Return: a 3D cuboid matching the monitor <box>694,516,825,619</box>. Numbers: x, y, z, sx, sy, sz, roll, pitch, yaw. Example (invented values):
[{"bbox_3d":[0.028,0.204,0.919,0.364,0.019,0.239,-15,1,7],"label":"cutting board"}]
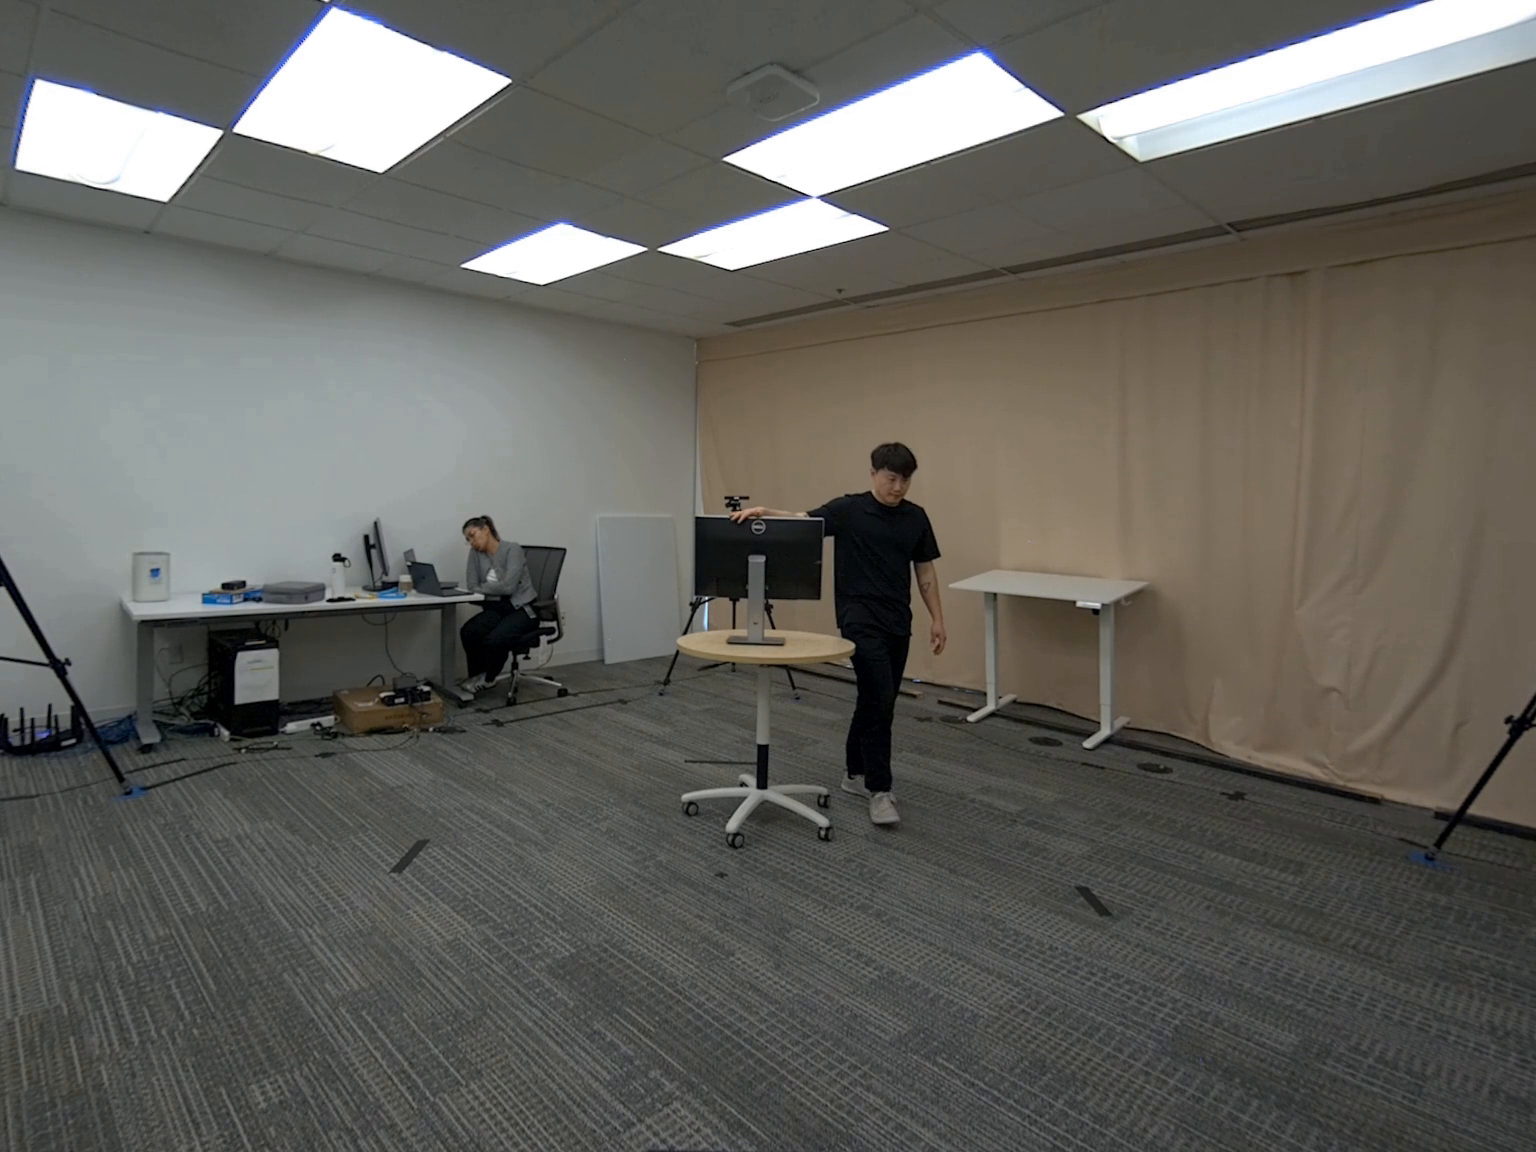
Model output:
[{"bbox_3d":[-0.052,0.019,3.610,0.540,0.522,0.187,2,0,2],"label":"monitor"}]
